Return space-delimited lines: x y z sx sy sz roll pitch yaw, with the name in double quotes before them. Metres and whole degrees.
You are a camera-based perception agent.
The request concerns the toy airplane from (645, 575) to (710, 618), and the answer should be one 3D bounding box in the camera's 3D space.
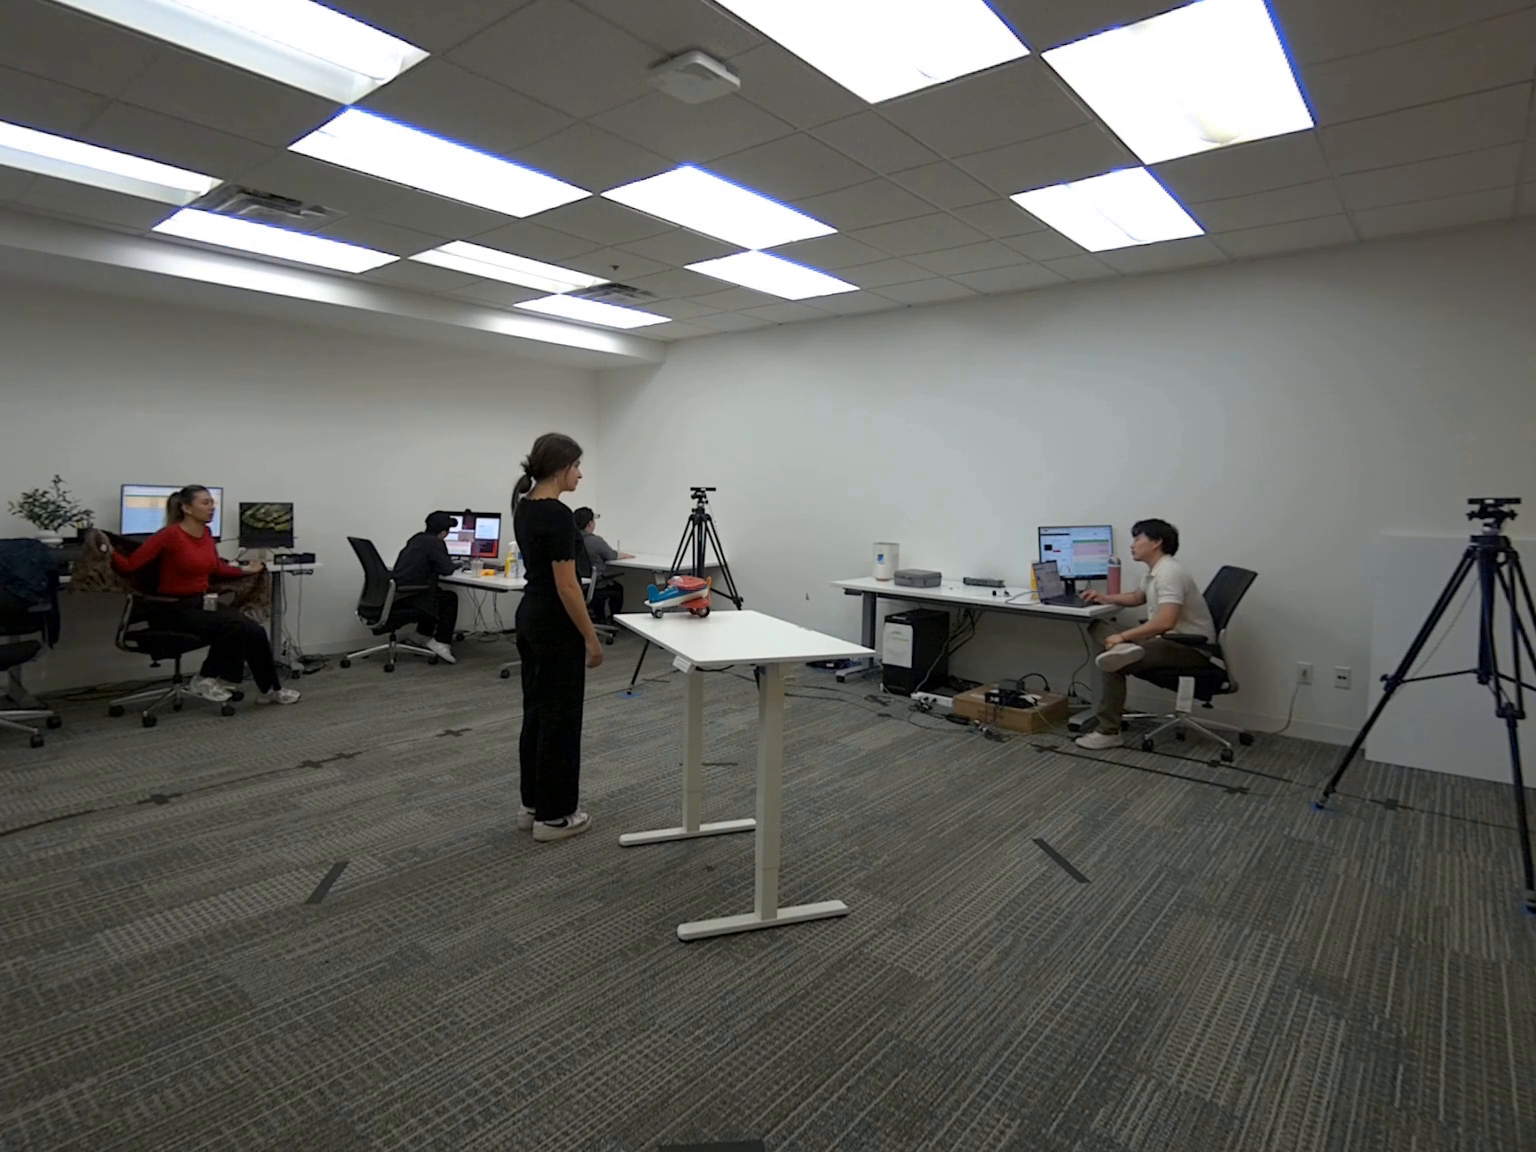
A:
"toy airplane" -0.354 0.084 3.347 0.259 0.156 0.251 3 3 37
